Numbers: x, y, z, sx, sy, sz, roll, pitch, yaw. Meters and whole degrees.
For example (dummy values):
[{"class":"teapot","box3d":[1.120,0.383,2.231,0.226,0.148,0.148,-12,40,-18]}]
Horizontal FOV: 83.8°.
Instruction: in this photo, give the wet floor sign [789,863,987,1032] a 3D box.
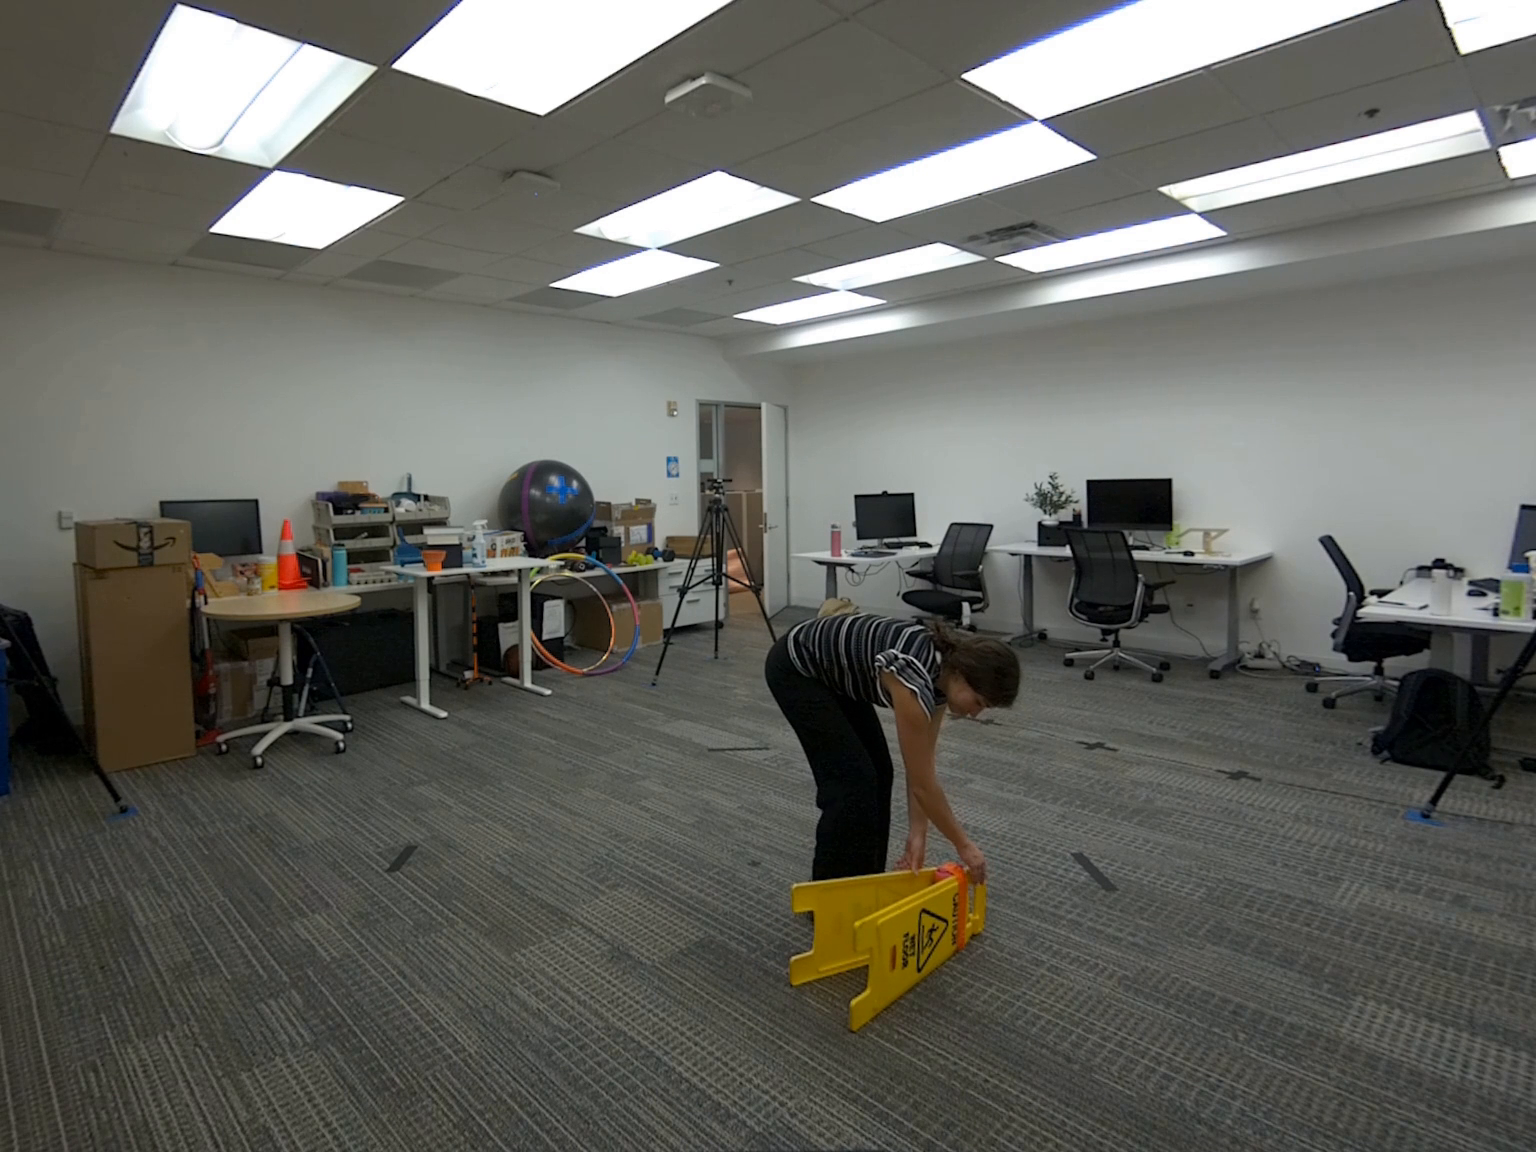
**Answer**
[{"class":"wet floor sign","box3d":[0.403,0.996,2.426,0.629,0.281,0.299,-2,7,-35]}]
